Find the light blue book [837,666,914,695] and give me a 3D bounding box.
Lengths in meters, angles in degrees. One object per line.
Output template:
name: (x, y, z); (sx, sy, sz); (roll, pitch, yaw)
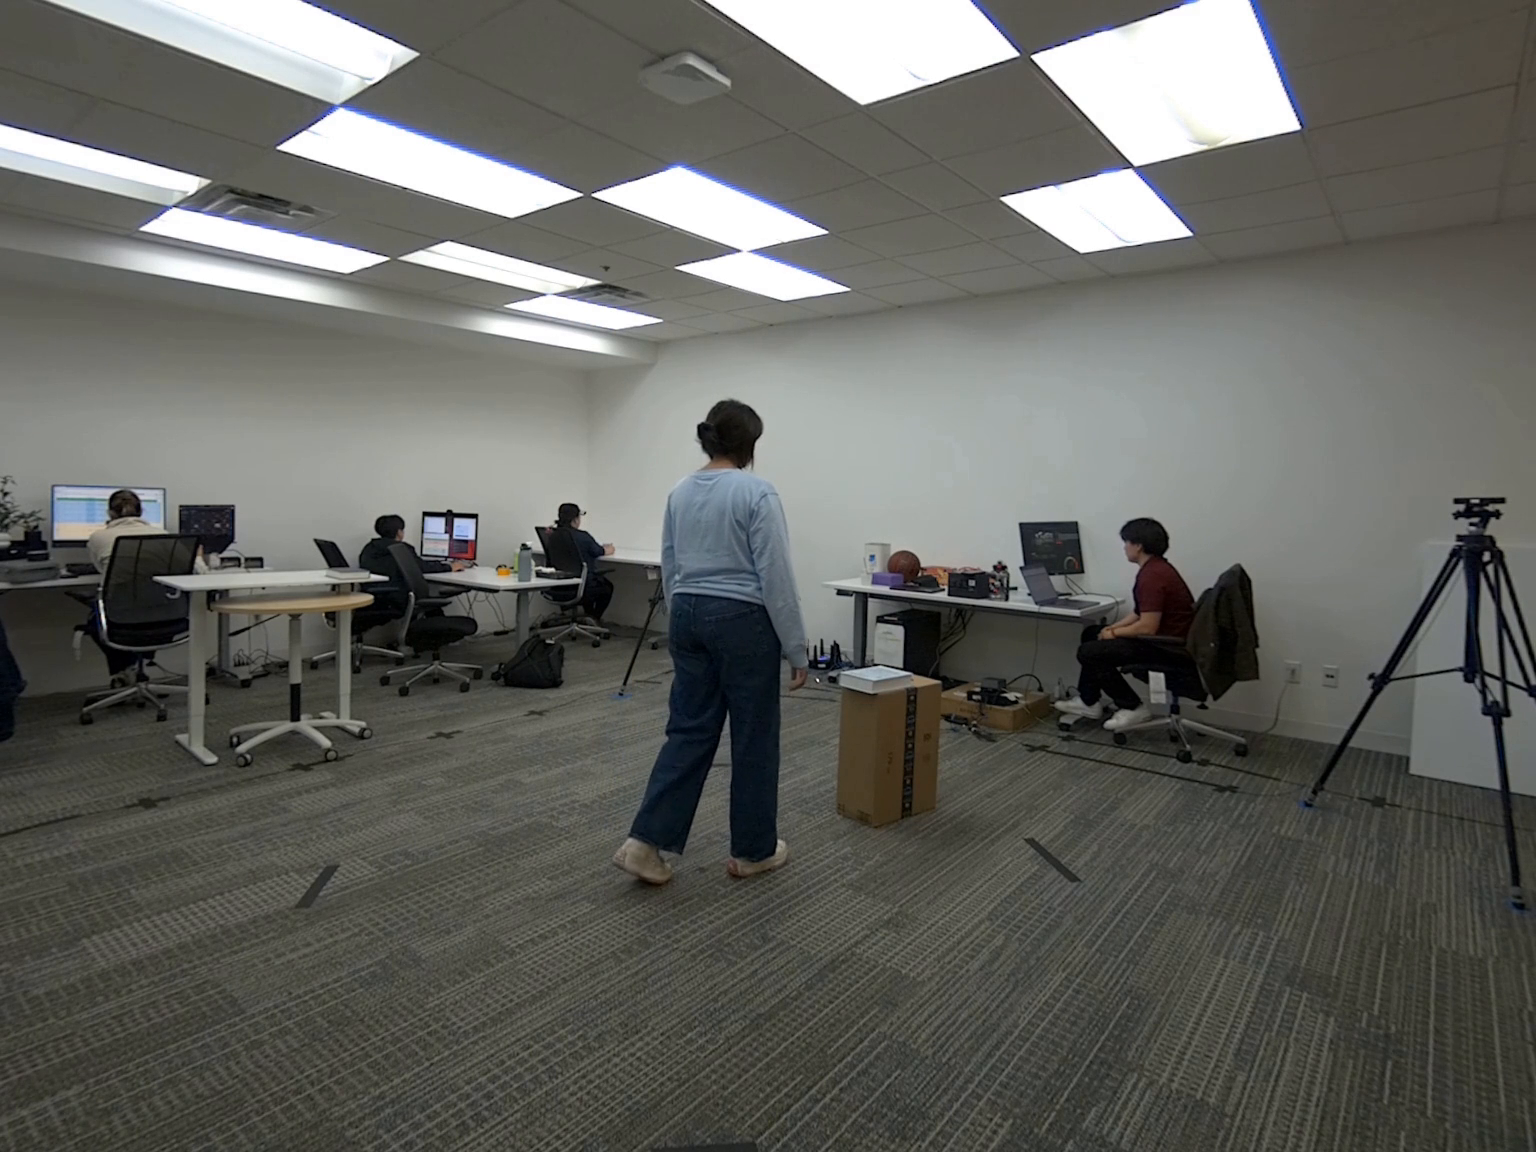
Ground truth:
light blue book: (0.454, 0.437, 3.638); (0.253, 0.059, 0.198); (-4, 8, -42)
